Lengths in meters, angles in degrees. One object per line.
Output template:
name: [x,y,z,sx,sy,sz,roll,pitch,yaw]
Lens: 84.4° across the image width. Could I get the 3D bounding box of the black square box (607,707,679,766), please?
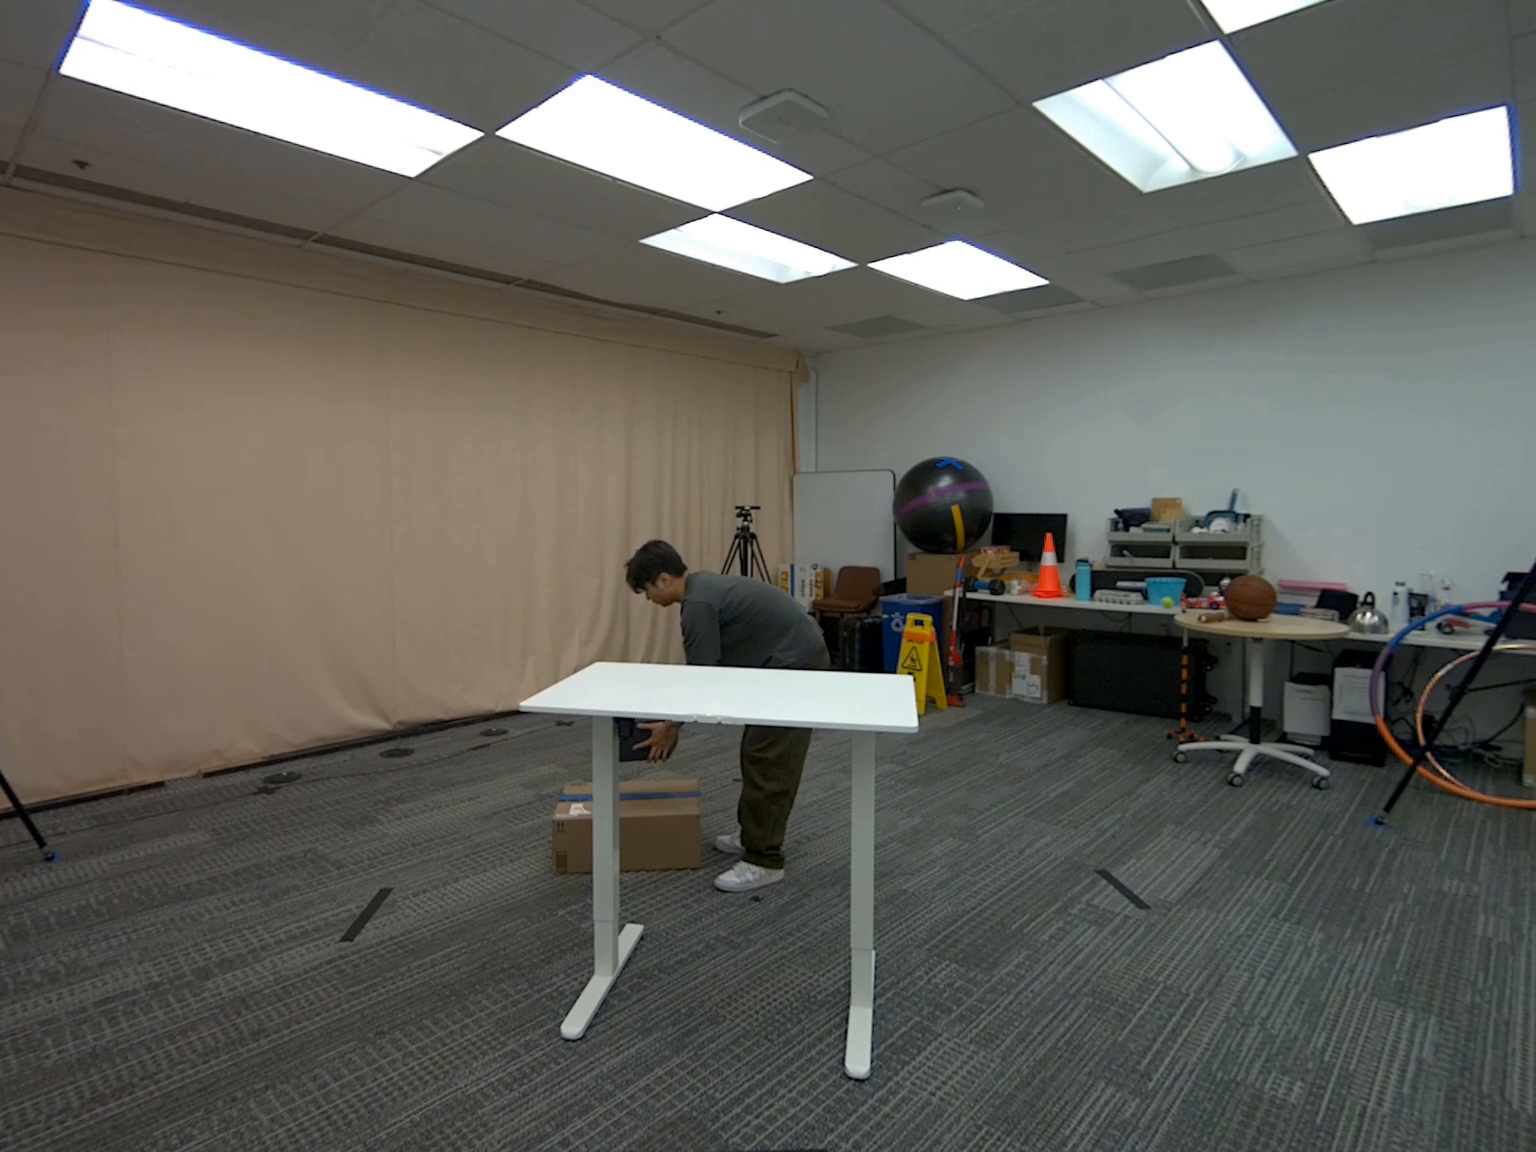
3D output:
black square box: [-0.497,0.633,3.375,0.229,0.155,0.216,-6,4,5]
